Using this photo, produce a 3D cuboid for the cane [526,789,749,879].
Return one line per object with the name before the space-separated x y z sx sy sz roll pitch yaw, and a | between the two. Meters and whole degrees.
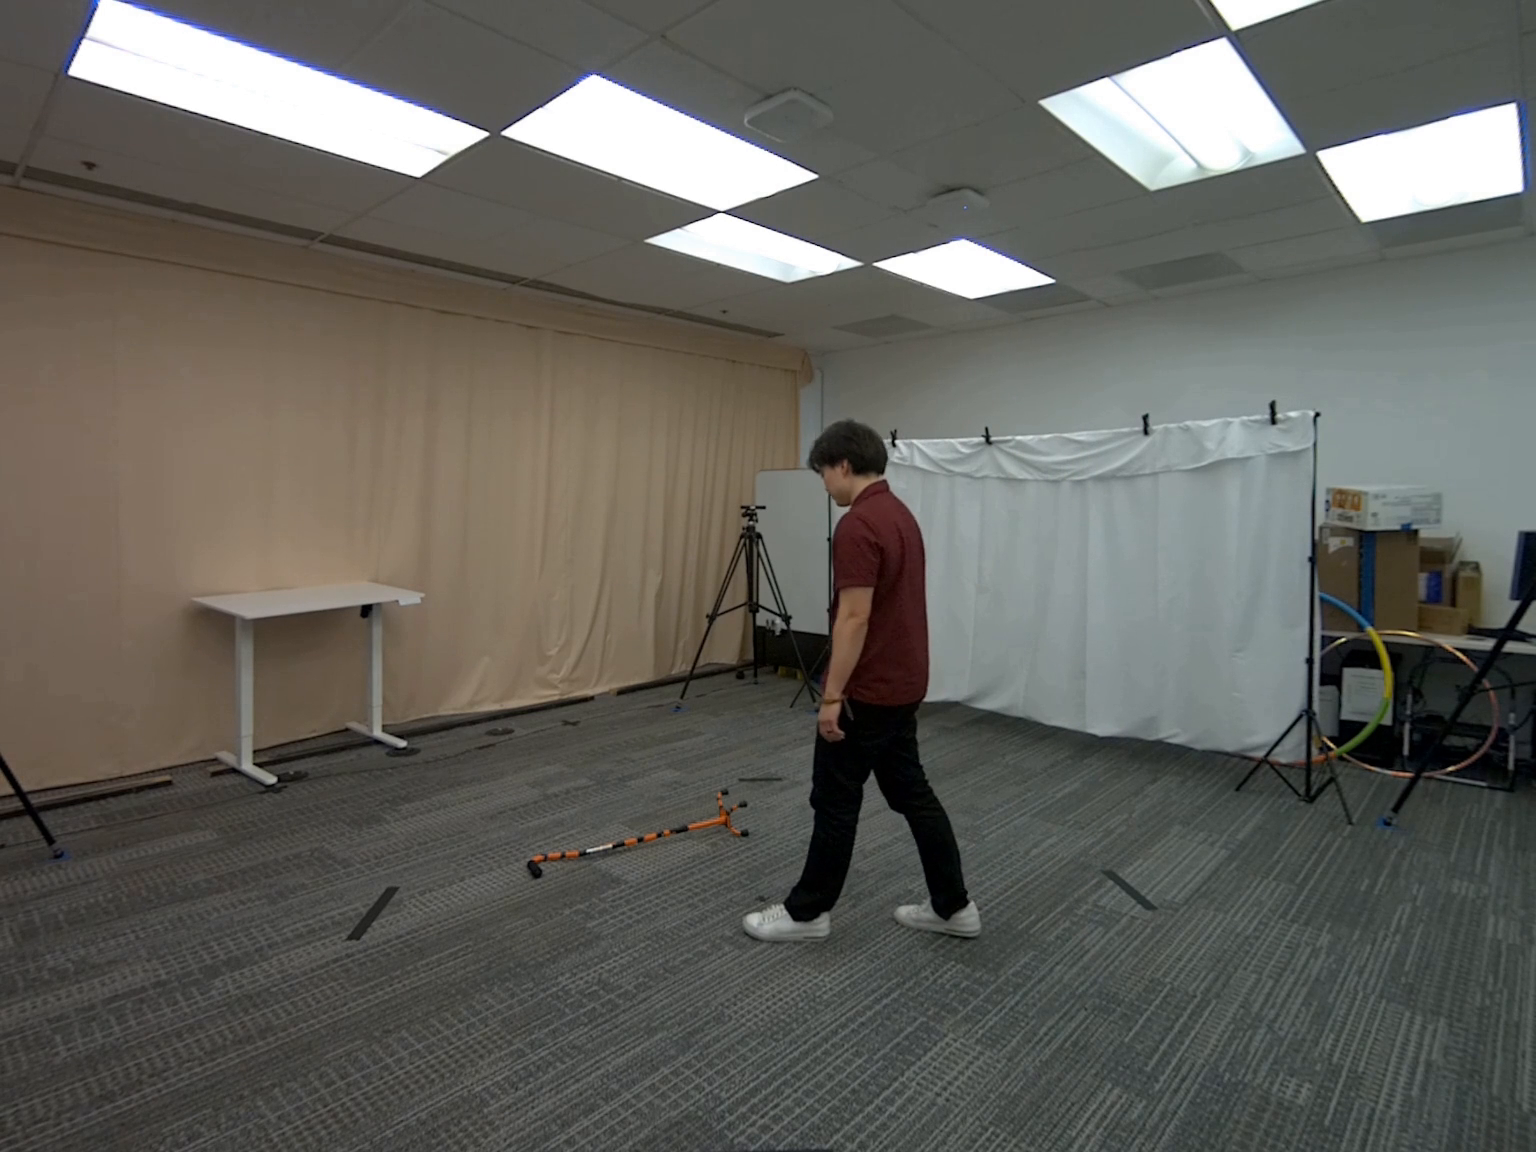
cane | -0.526 1.055 3.433 0.887 0.151 0.212 -6 4 -26
